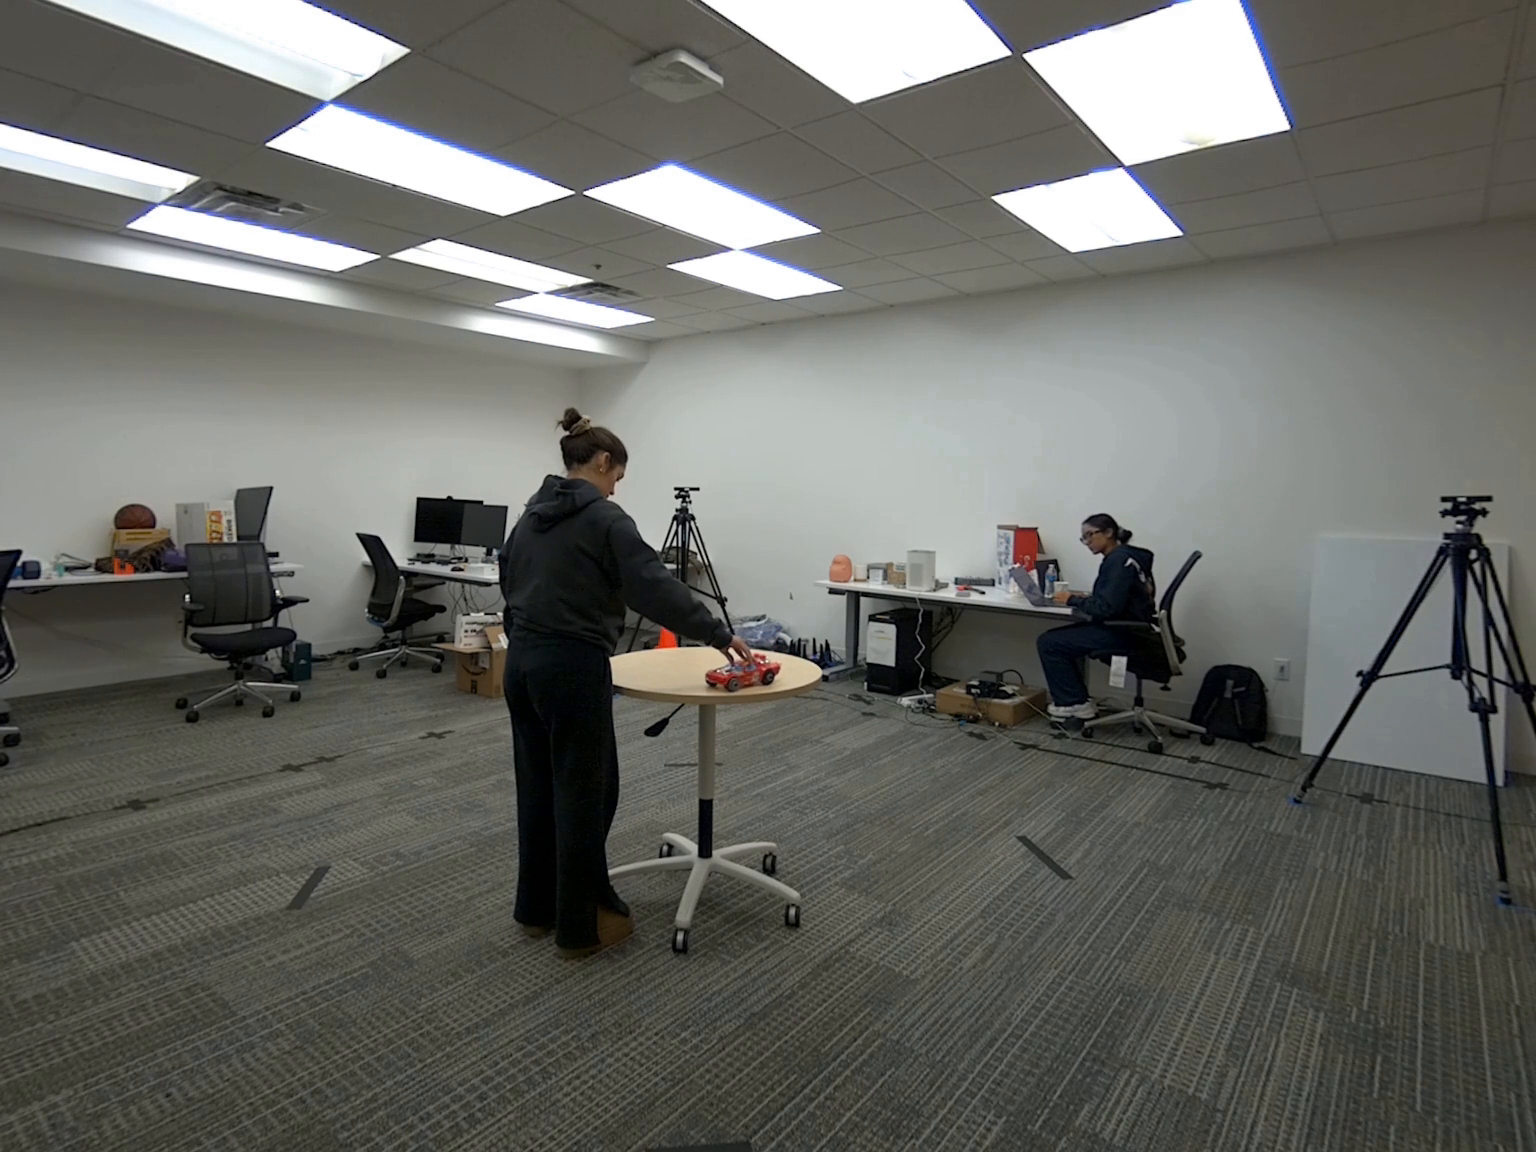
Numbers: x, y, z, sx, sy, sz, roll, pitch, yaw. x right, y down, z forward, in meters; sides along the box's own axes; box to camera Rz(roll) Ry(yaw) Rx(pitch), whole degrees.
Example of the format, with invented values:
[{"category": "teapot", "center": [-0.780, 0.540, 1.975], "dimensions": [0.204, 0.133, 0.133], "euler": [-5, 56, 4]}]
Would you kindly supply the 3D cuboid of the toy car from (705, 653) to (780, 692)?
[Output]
[{"category": "toy car", "center": [-0.070, 0.306, 2.619], "dimensions": [0.249, 0.082, 0.134], "euler": [-19, 15, -39]}]
